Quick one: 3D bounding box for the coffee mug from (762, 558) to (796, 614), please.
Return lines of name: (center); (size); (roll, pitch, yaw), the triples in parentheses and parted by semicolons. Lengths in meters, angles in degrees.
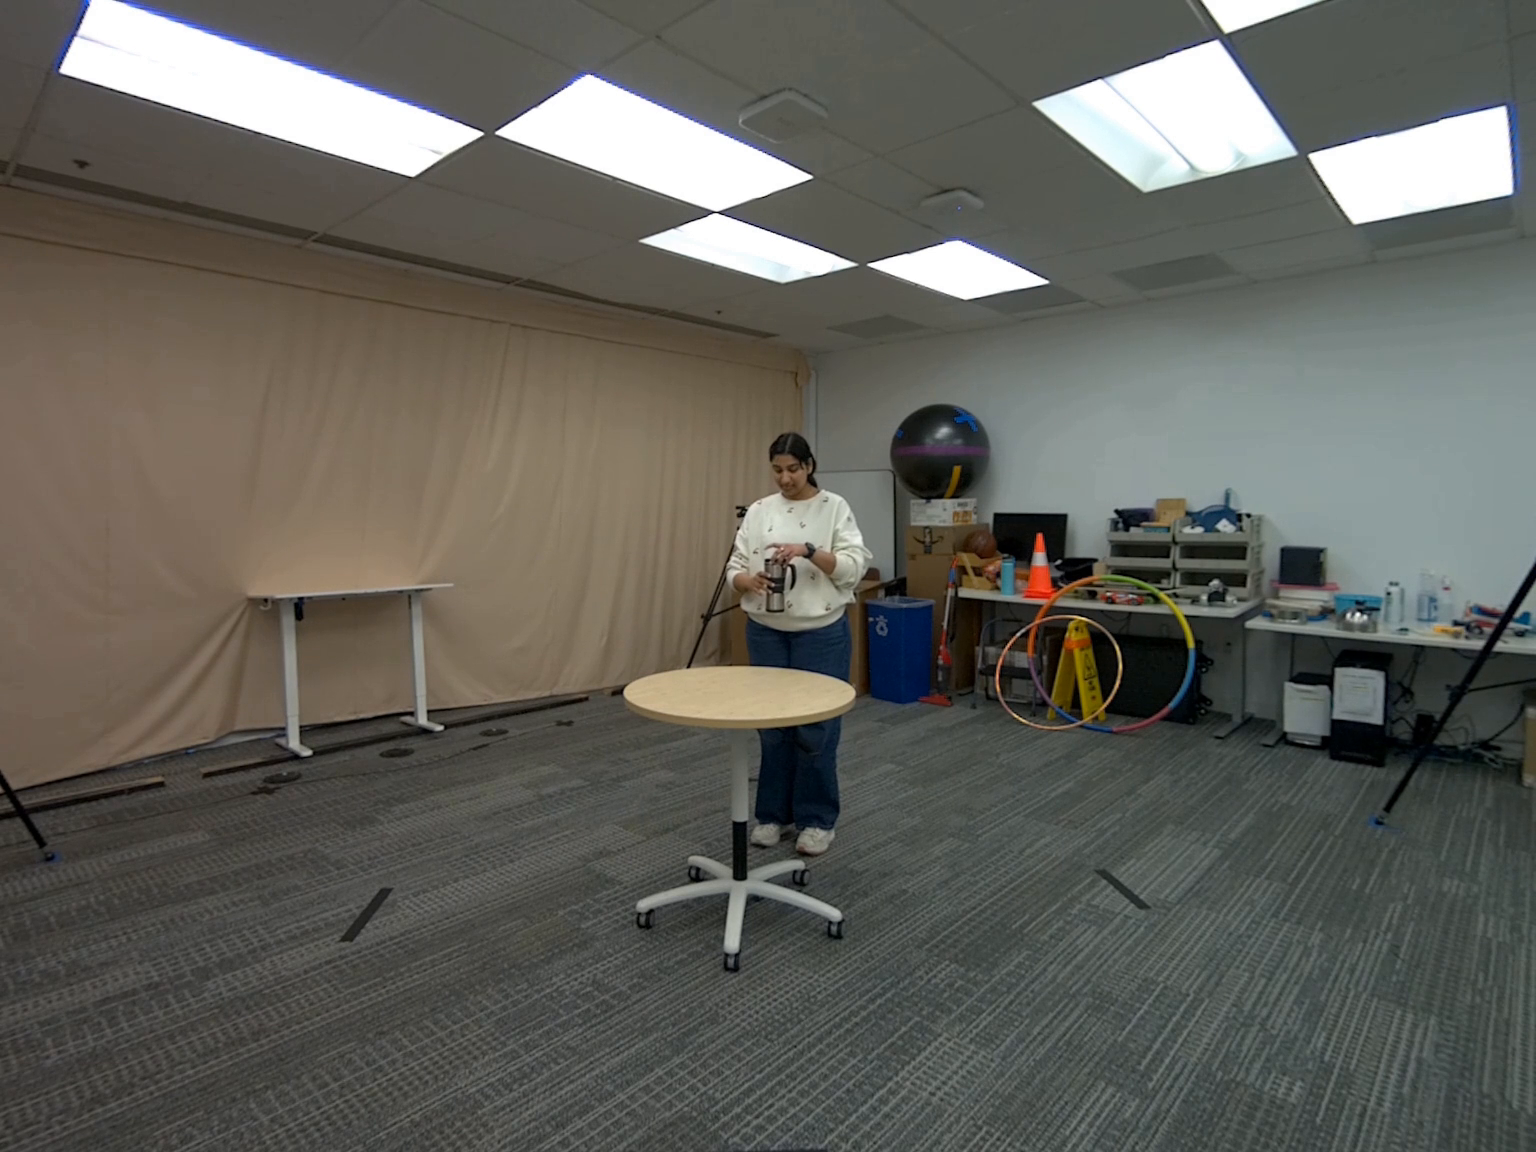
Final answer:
coffee mug: (0.049, 0.036, 3.156); (0.085, 0.203, 0.125); (7, -2, -31)
